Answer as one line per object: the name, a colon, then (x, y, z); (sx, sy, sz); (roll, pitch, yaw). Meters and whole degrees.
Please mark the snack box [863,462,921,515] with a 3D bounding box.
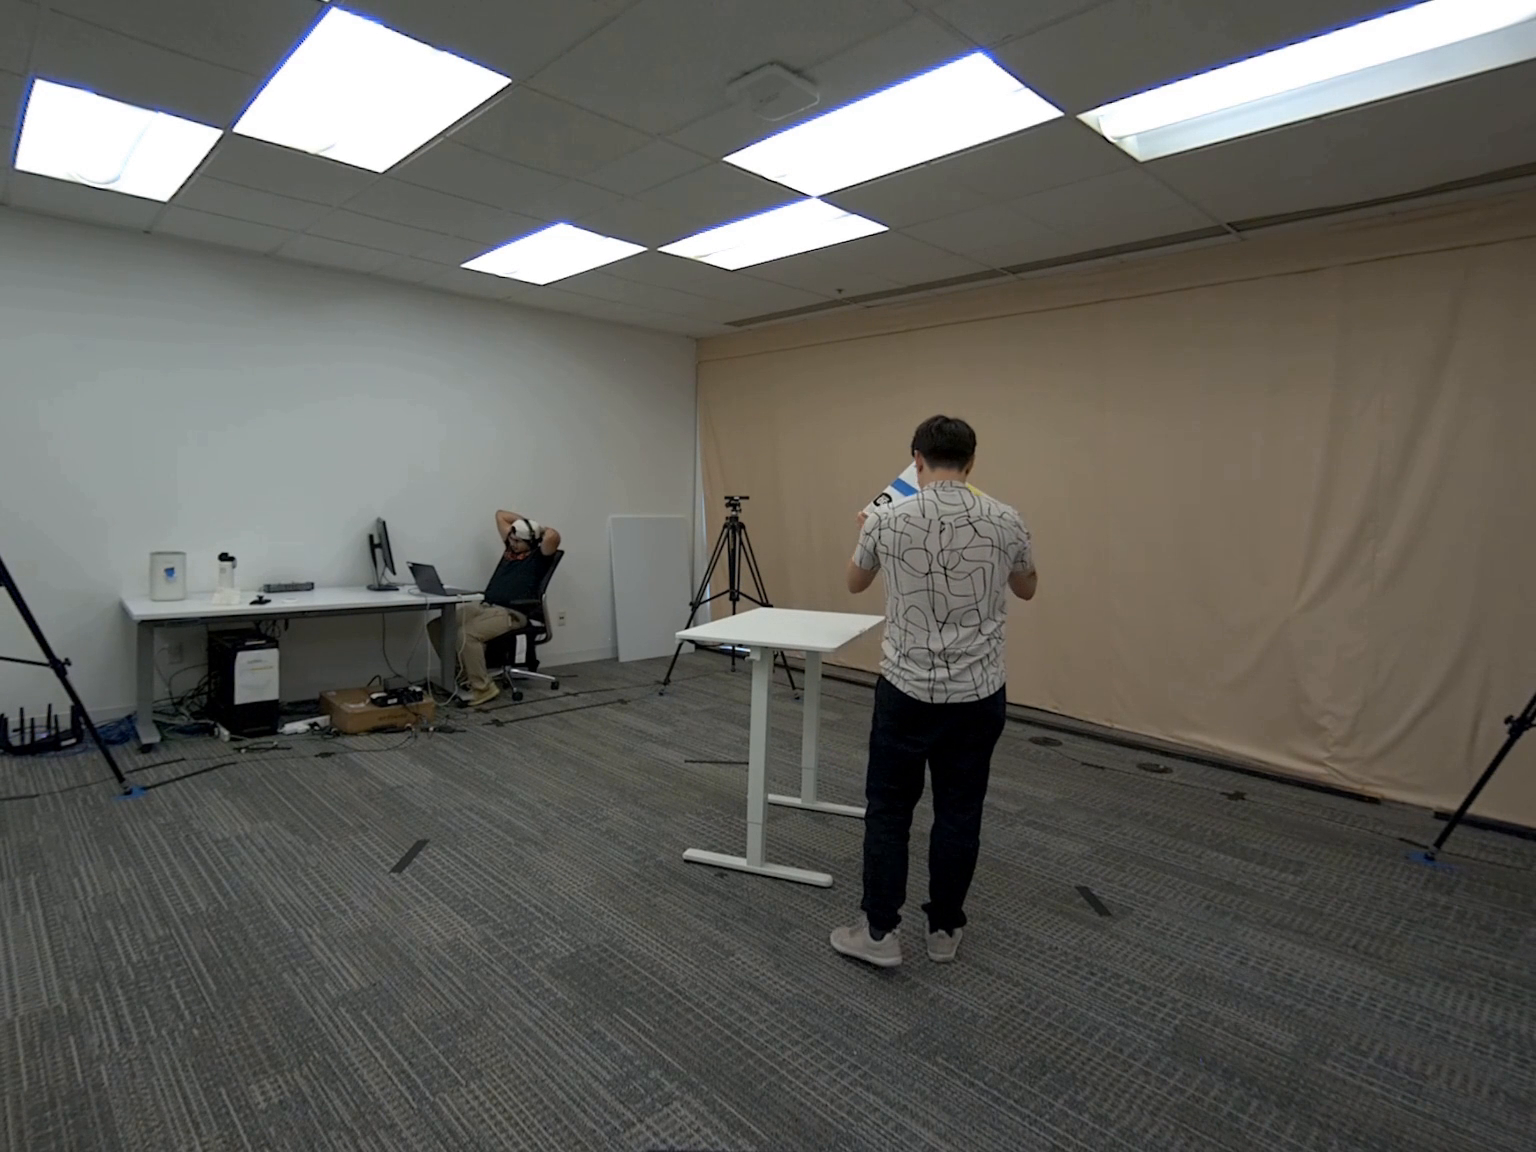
snack box: (0.601, -0.166, 3.027); (0.416, 0.339, 0.201); (37, -23, 26)
